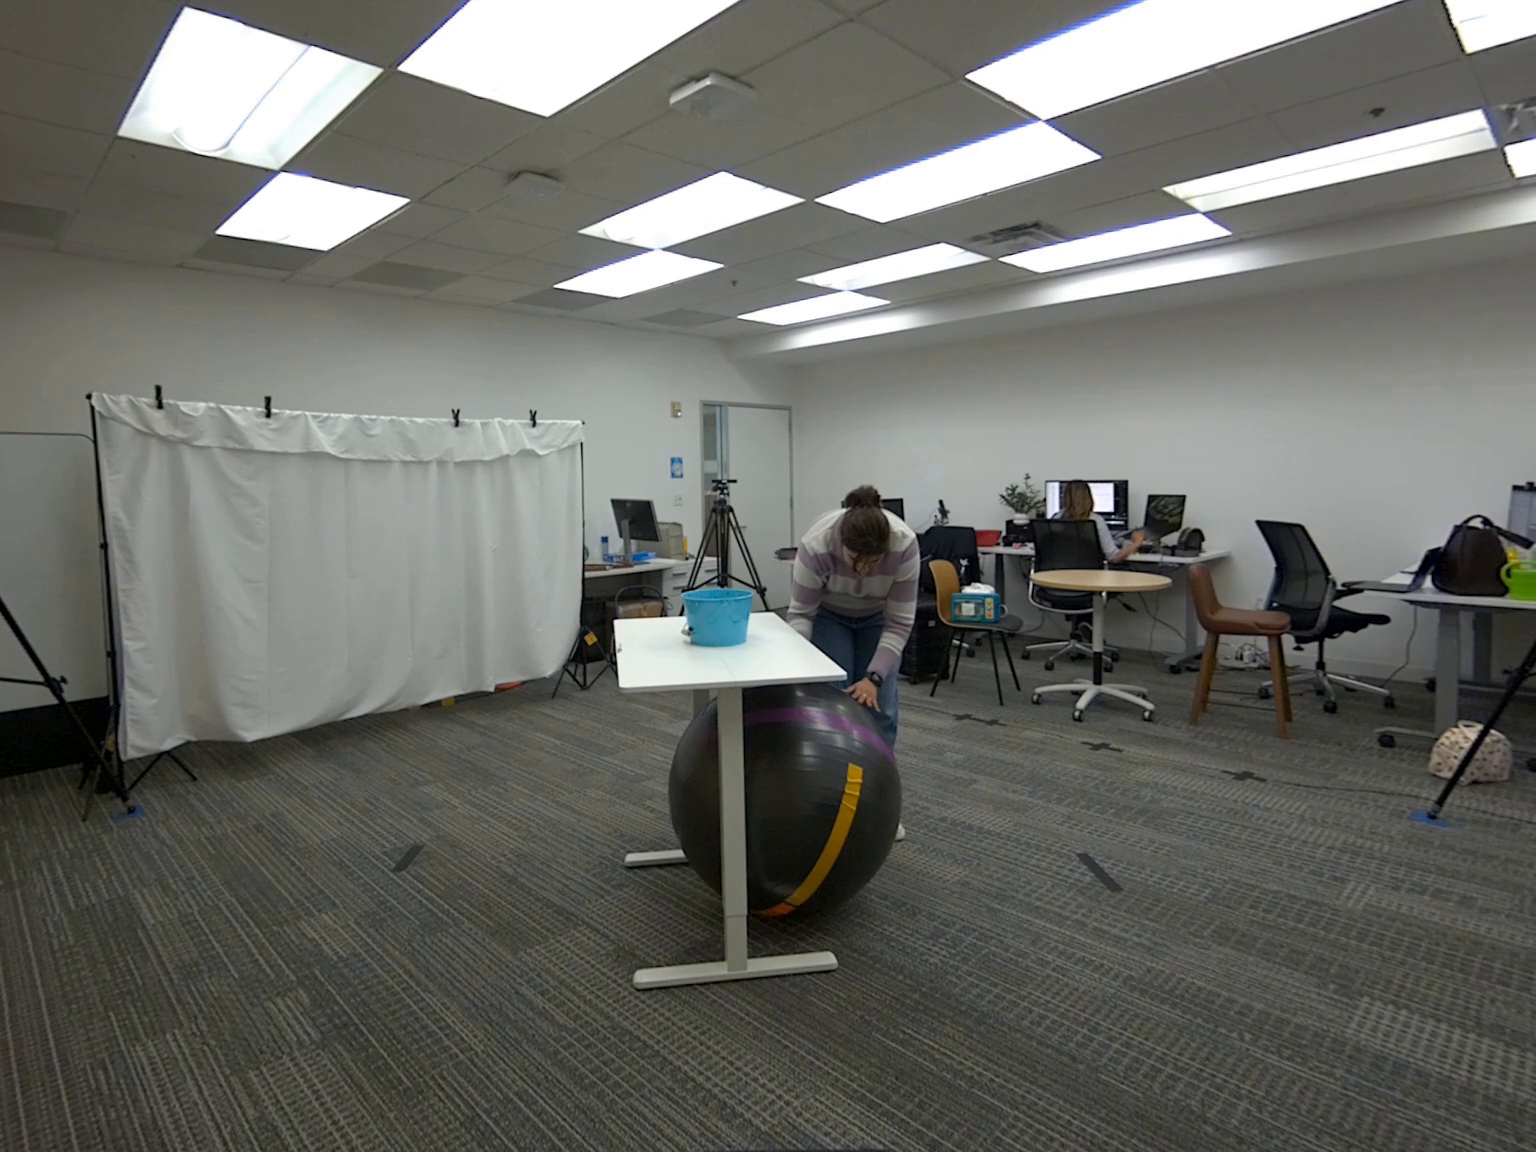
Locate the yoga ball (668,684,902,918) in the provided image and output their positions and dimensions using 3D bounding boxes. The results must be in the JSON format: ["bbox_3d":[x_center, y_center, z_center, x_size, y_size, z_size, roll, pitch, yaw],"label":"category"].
[{"bbox_3d":[0.058,0.714,2.792,0.757,0.755,0.762,-1,5,-2],"label":"yoga ball"}]
